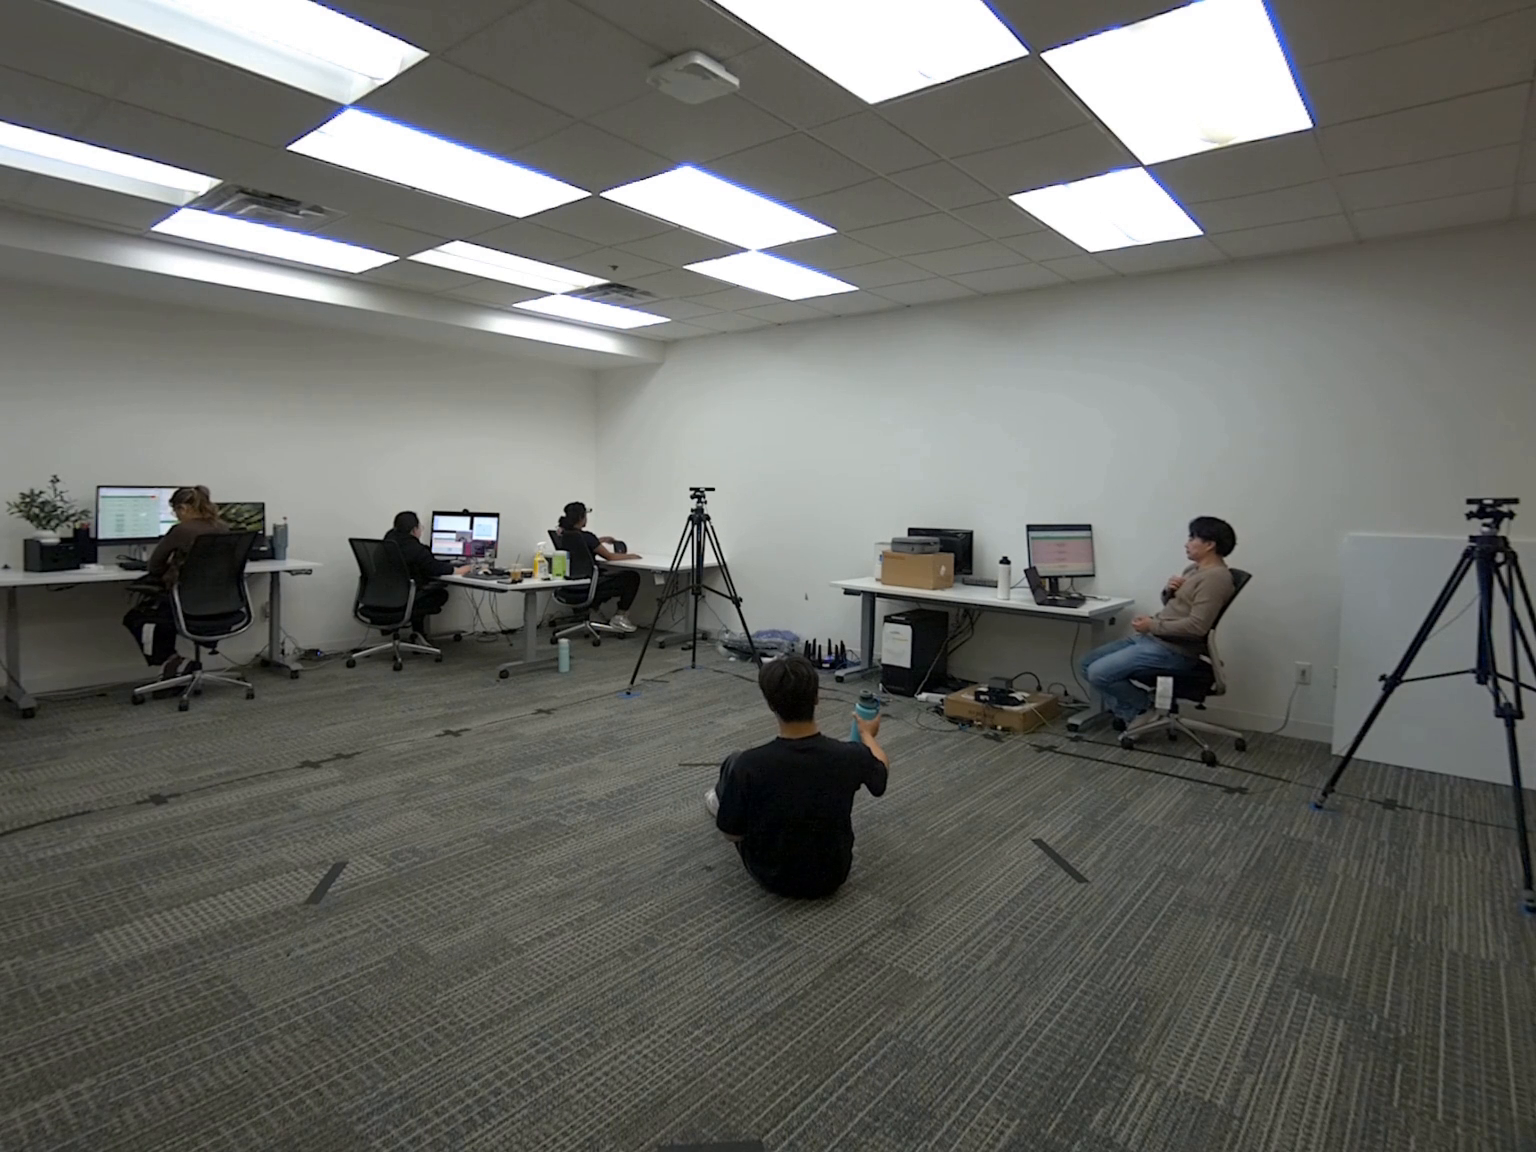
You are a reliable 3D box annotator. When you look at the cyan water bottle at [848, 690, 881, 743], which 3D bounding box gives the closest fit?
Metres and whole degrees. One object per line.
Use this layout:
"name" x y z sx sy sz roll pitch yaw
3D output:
"cyan water bottle" 0.383 0.597 3.462 0.092 0.281 0.093 9 12 -4
